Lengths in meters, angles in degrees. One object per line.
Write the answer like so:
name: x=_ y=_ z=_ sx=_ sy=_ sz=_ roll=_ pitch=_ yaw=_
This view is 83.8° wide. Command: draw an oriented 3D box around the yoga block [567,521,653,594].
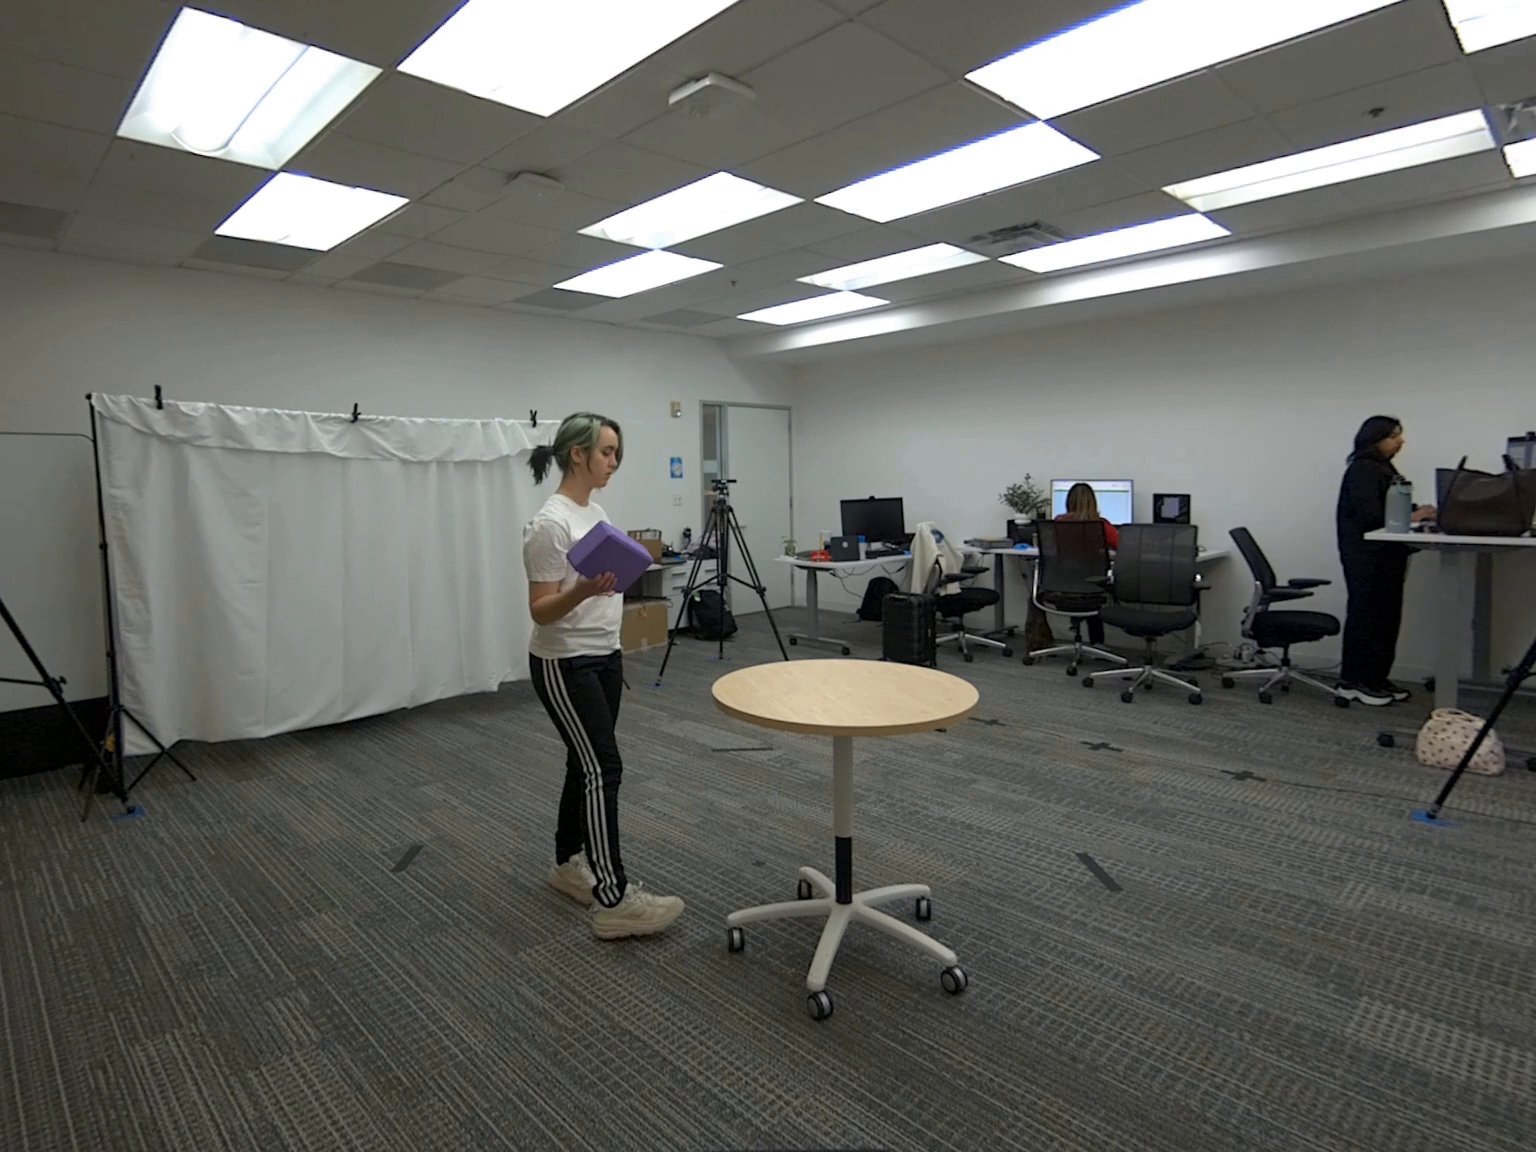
yoga block: x=-0.447 y=-0.052 z=2.432 sx=0.079 sy=0.149 sz=0.221 roll=52 pitch=8 yaw=33
